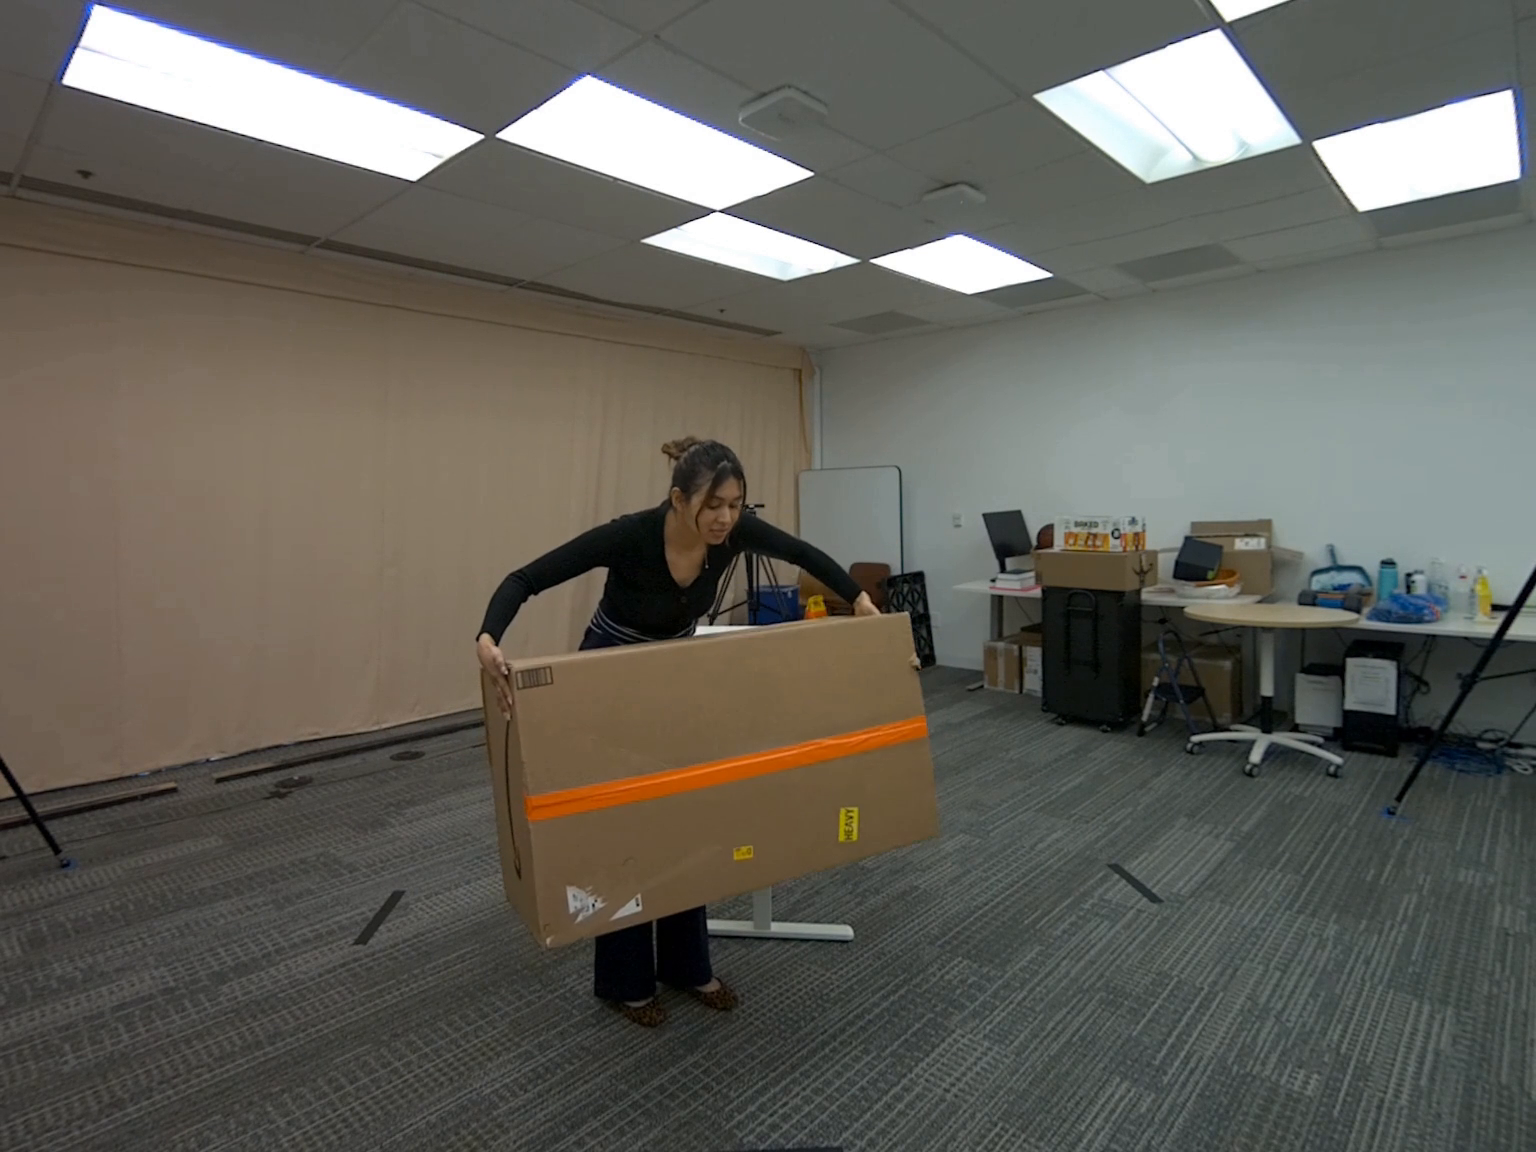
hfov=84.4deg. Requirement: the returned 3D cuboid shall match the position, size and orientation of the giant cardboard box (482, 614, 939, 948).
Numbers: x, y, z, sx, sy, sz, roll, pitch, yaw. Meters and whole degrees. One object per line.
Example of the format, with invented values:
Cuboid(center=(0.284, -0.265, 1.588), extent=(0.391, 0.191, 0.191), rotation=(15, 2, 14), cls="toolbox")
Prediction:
Cuboid(center=(-0.133, 0.443, 2.107), extent=(1.002, 0.579, 0.435), rotation=(-6, -2, -25), cls="giant cardboard box")
